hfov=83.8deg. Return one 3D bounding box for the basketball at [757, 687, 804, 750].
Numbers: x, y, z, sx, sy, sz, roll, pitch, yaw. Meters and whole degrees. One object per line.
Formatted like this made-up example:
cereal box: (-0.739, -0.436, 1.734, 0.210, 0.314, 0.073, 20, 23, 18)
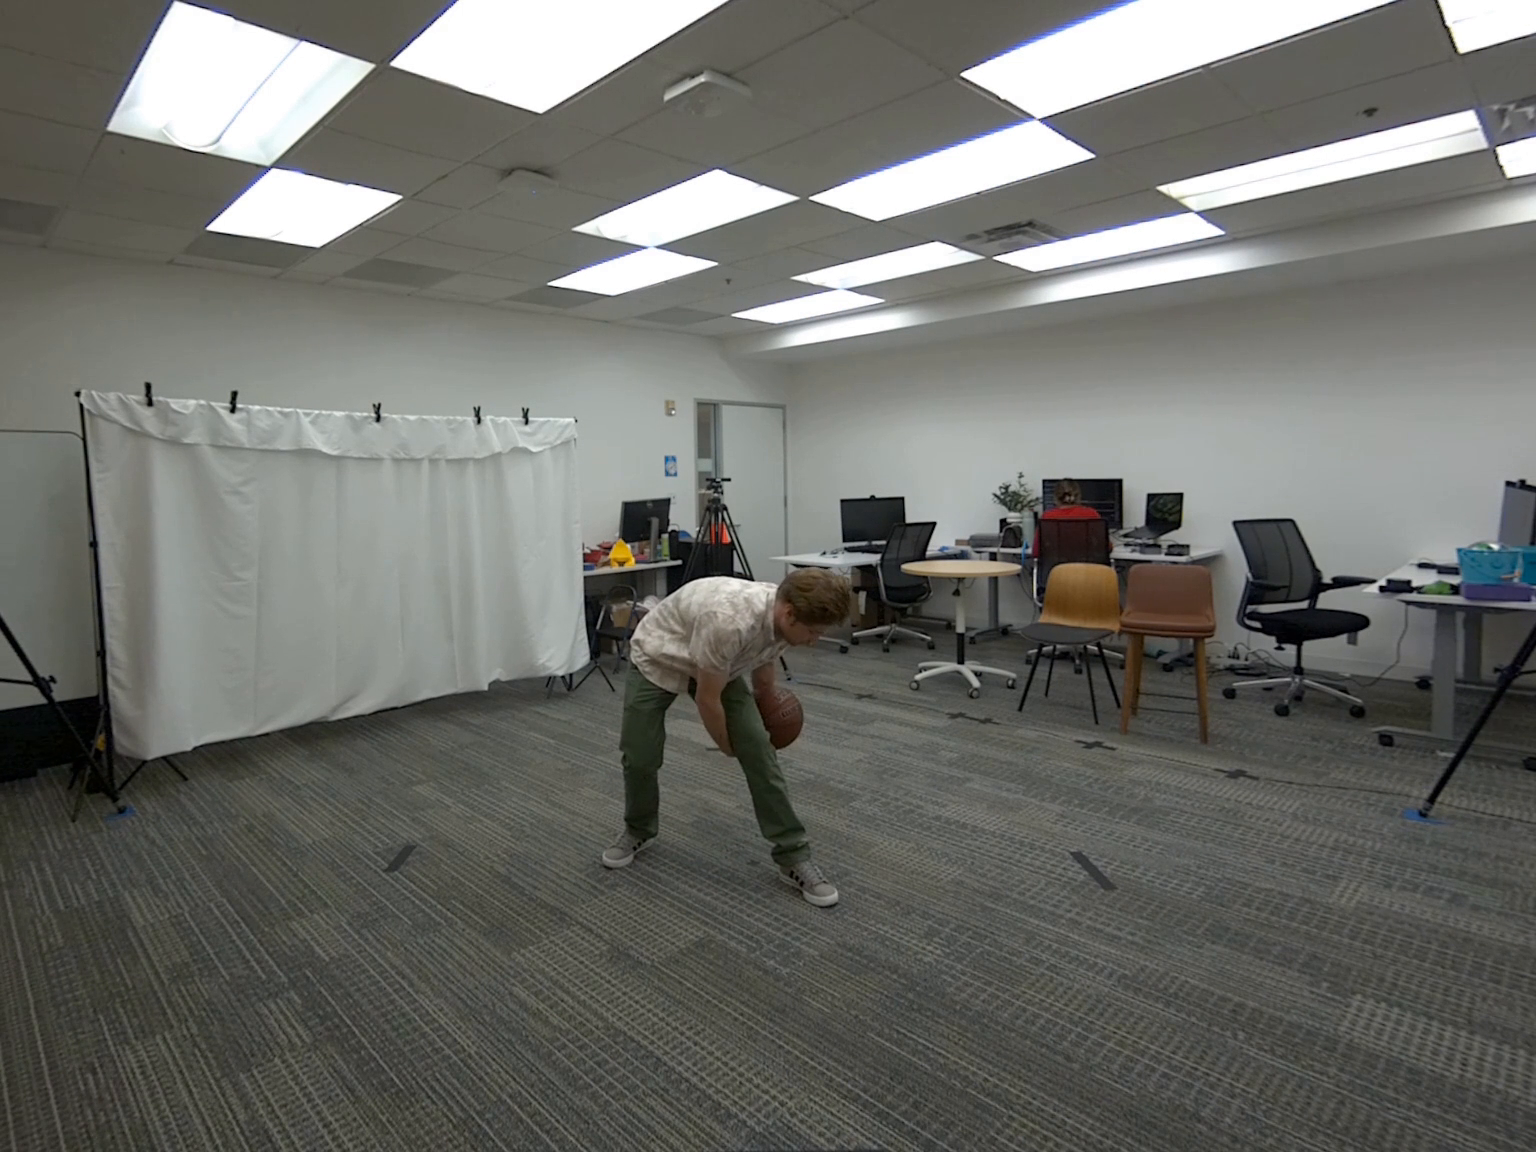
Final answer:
basketball: (0.015, 0.530, 3.191, 0.236, 0.235, 0.237, -1, 5, -2)
